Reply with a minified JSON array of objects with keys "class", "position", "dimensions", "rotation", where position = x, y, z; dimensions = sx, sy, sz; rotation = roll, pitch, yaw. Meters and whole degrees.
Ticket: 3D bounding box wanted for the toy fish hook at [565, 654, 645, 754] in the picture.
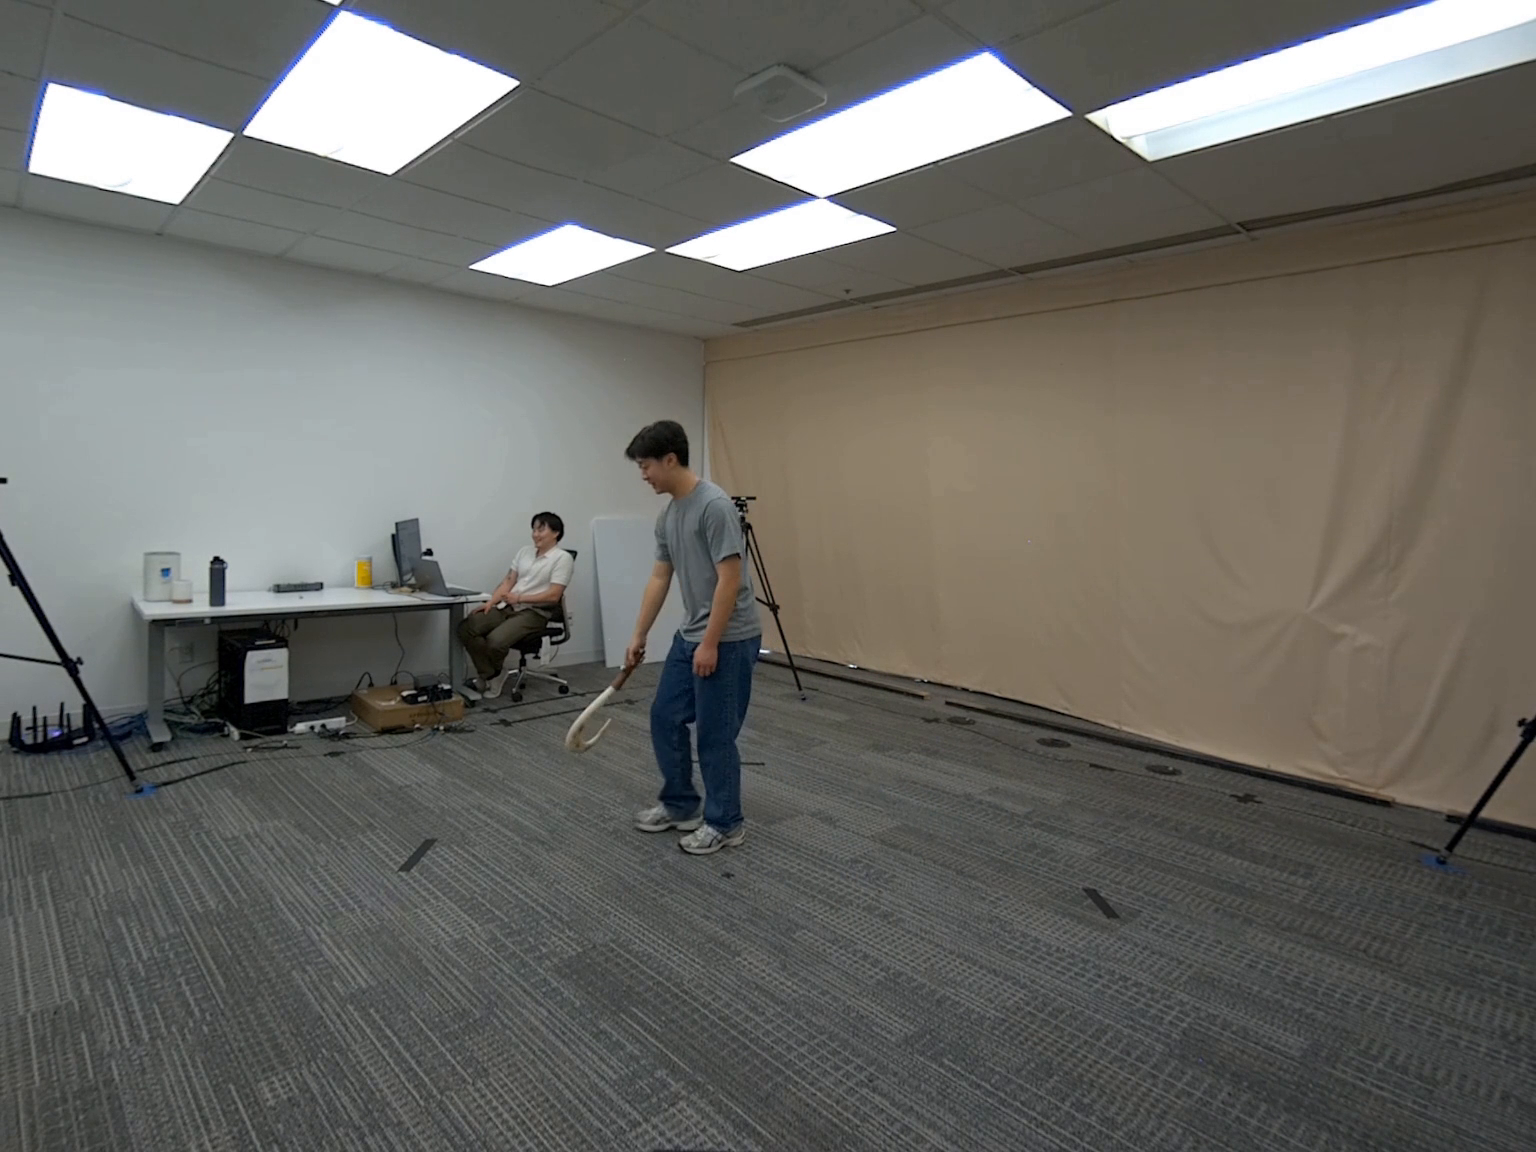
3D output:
[{"class":"toy fish hook","position":[-0.651,0.531,3.491],"dimensions":[0.049,0.507,0.219],"rotation":[33,-12,25]}]
